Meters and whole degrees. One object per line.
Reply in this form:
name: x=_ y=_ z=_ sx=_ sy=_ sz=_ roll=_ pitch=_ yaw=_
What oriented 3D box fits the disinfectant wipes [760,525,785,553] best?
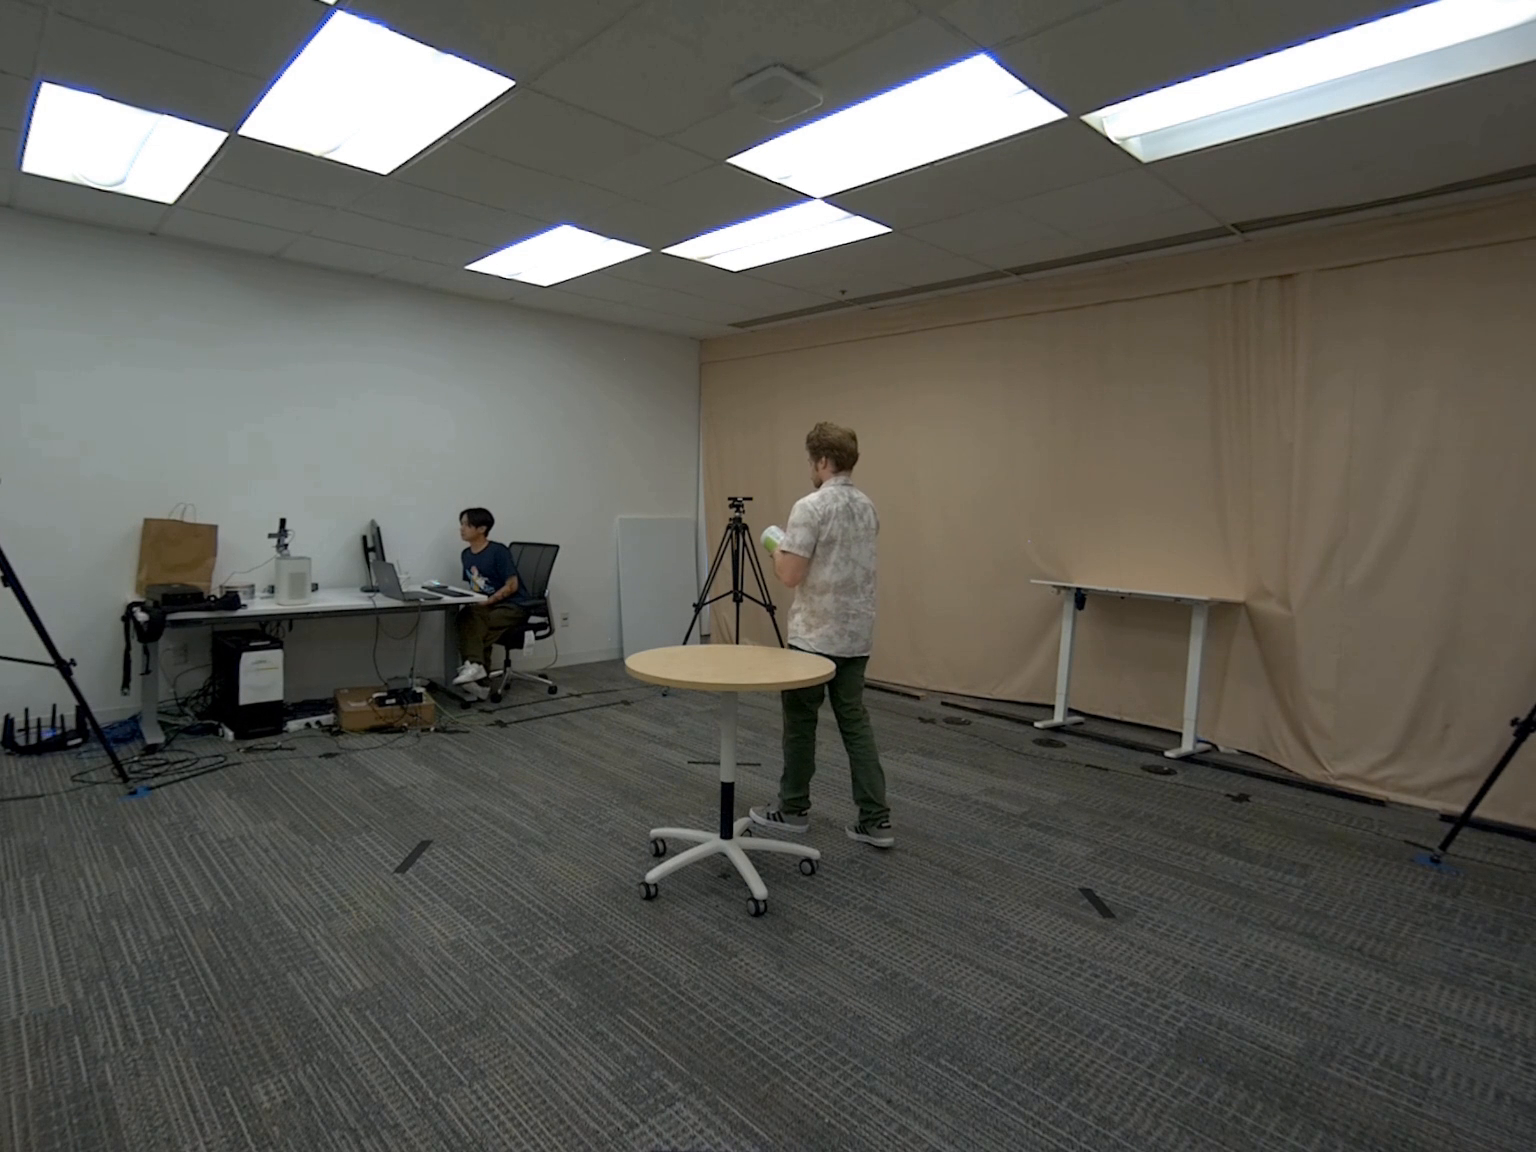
disinfectant wipes: x=0.073 y=-0.123 z=3.698 sx=0.223 sy=0.117 sz=0.115 roll=37 pitch=20 yaw=24
